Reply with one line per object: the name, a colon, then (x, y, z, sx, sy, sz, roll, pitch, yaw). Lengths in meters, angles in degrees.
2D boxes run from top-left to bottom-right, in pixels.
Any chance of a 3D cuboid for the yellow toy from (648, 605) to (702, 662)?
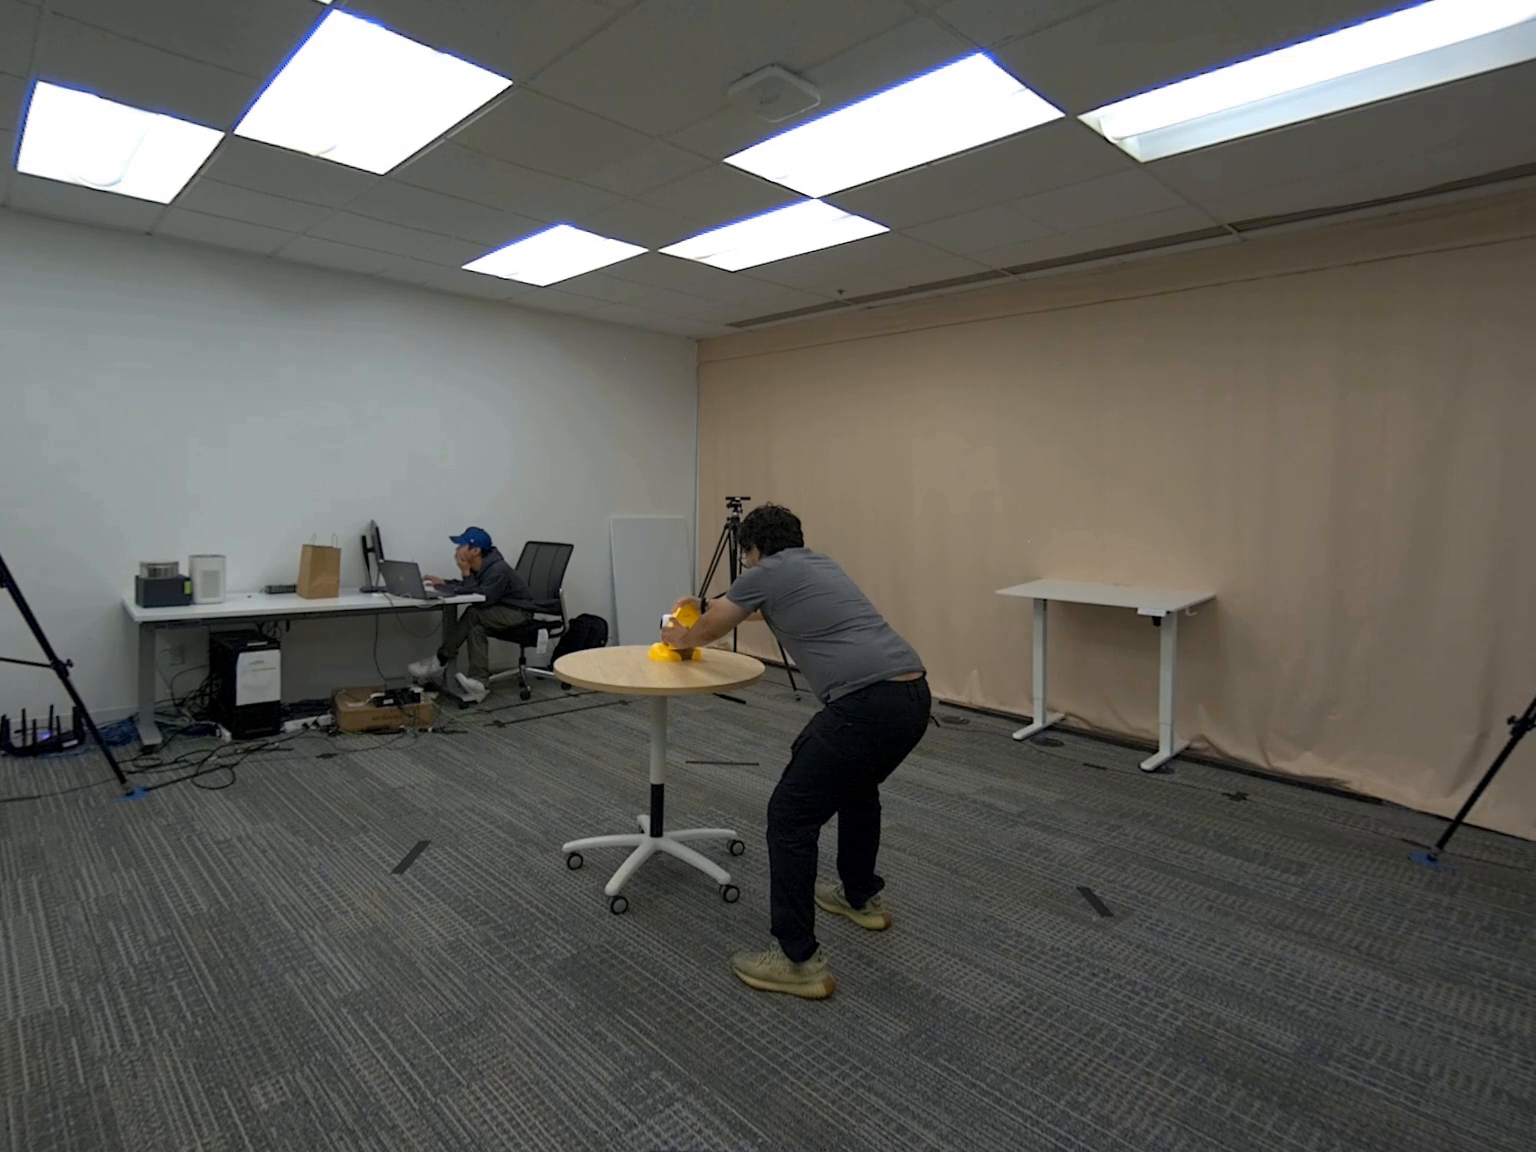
yellow toy: (-0.359, 0.199, 3.213, 0.200, 0.230, 0.198, -2, 5, -41)
